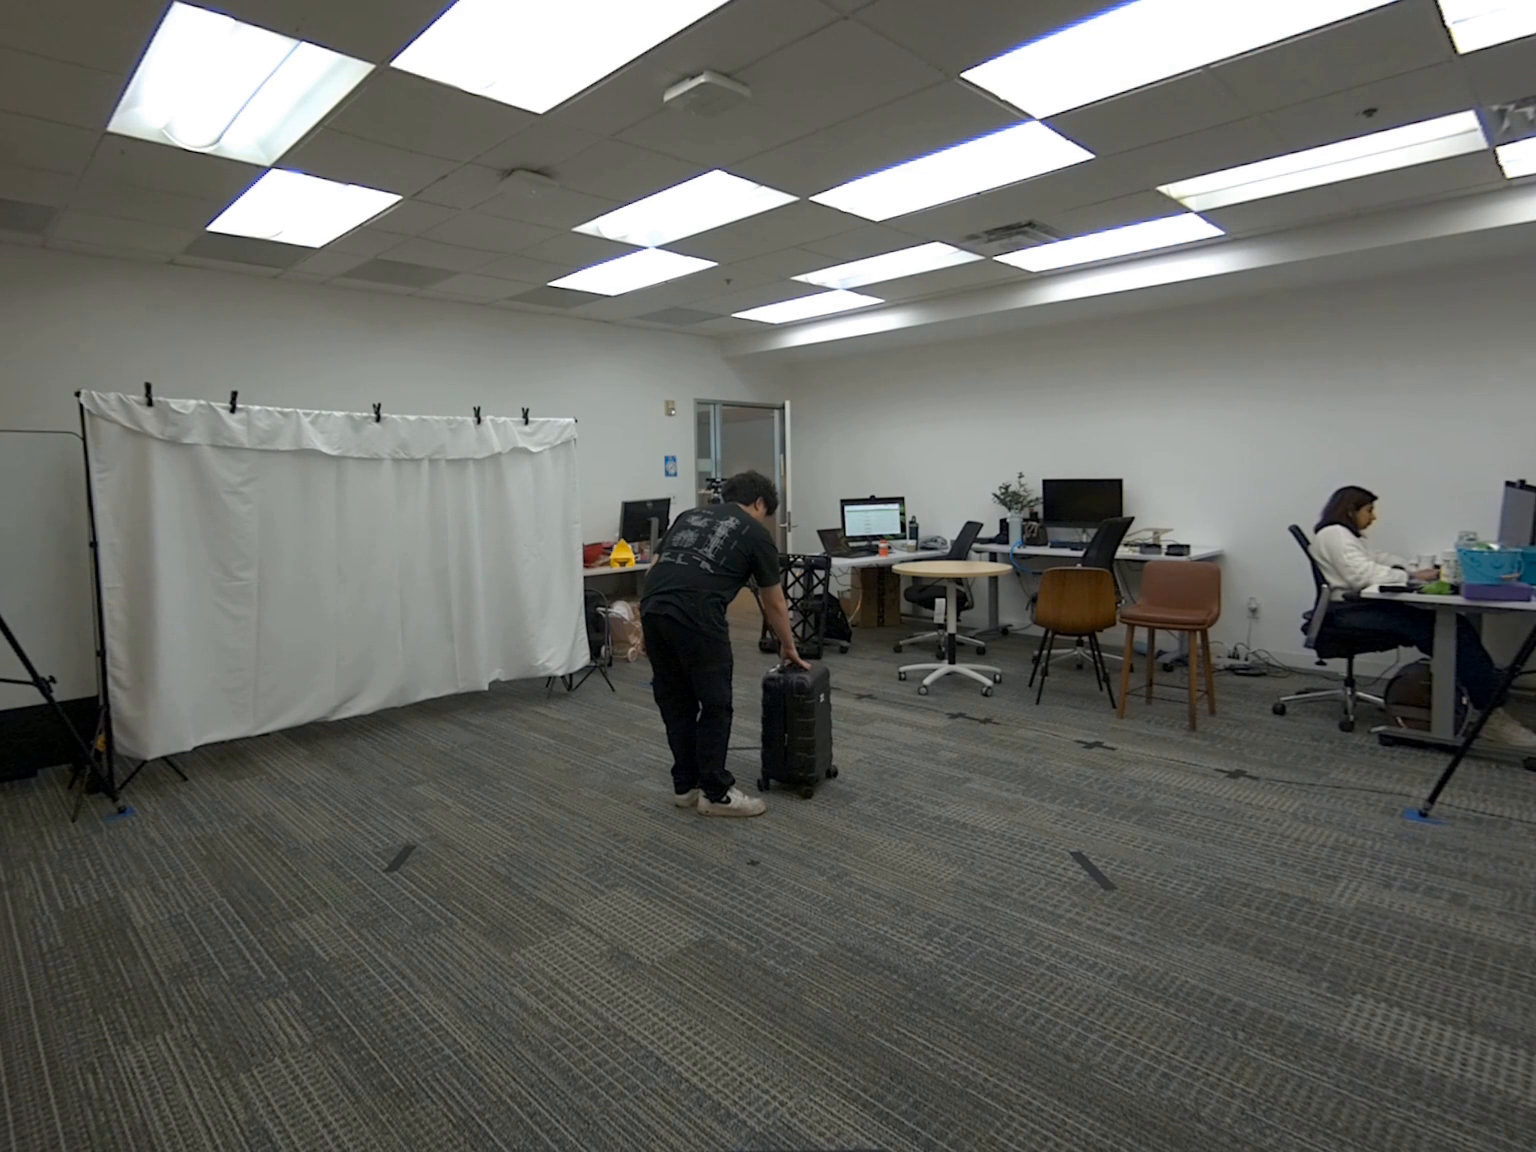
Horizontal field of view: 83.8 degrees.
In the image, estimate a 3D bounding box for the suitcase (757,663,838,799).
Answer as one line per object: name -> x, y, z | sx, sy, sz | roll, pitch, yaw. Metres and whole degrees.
suitcase -> 0.141, 0.676, 3.906 | 0.253, 0.547, 0.370 | 1, 4, 19
